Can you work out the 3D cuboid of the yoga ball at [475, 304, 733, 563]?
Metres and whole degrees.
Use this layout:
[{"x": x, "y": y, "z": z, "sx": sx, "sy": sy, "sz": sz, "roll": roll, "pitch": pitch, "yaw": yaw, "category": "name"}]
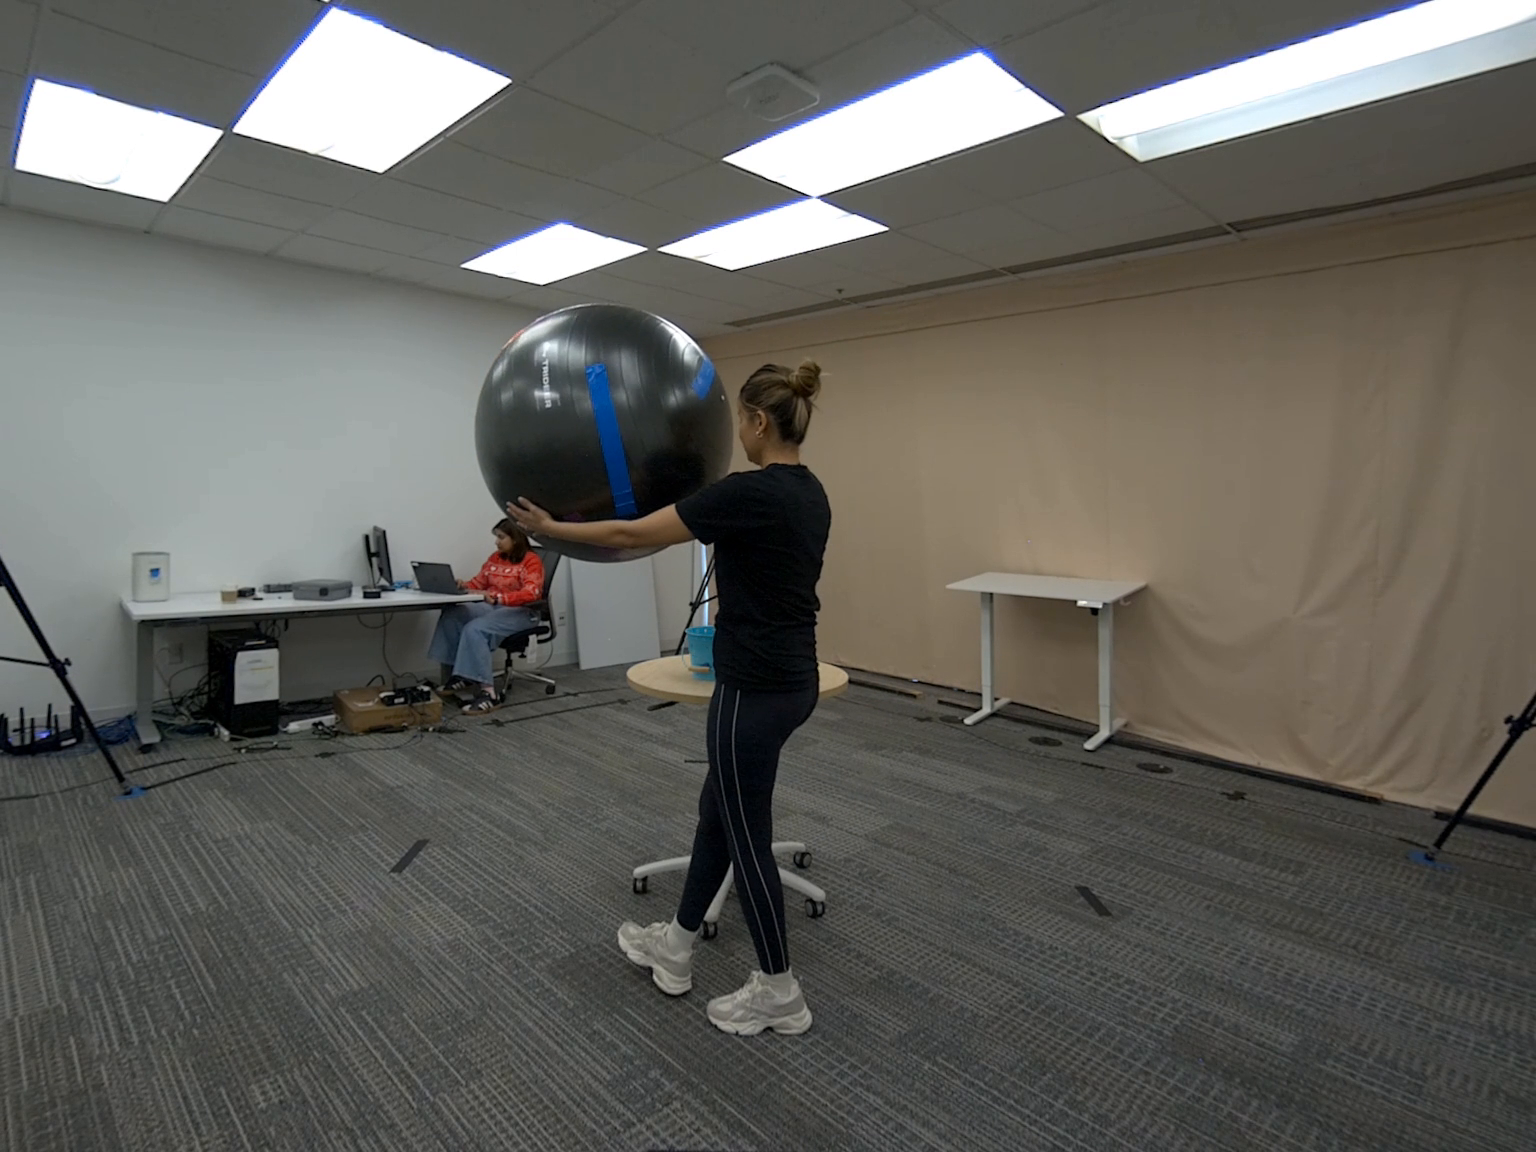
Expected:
[{"x": -0.490, "y": -0.413, "z": 2.504, "sx": 0.757, "sy": 0.756, "sz": 0.761, "roll": 1, "pitch": 4, "yaw": -1, "category": "yoga ball"}]
